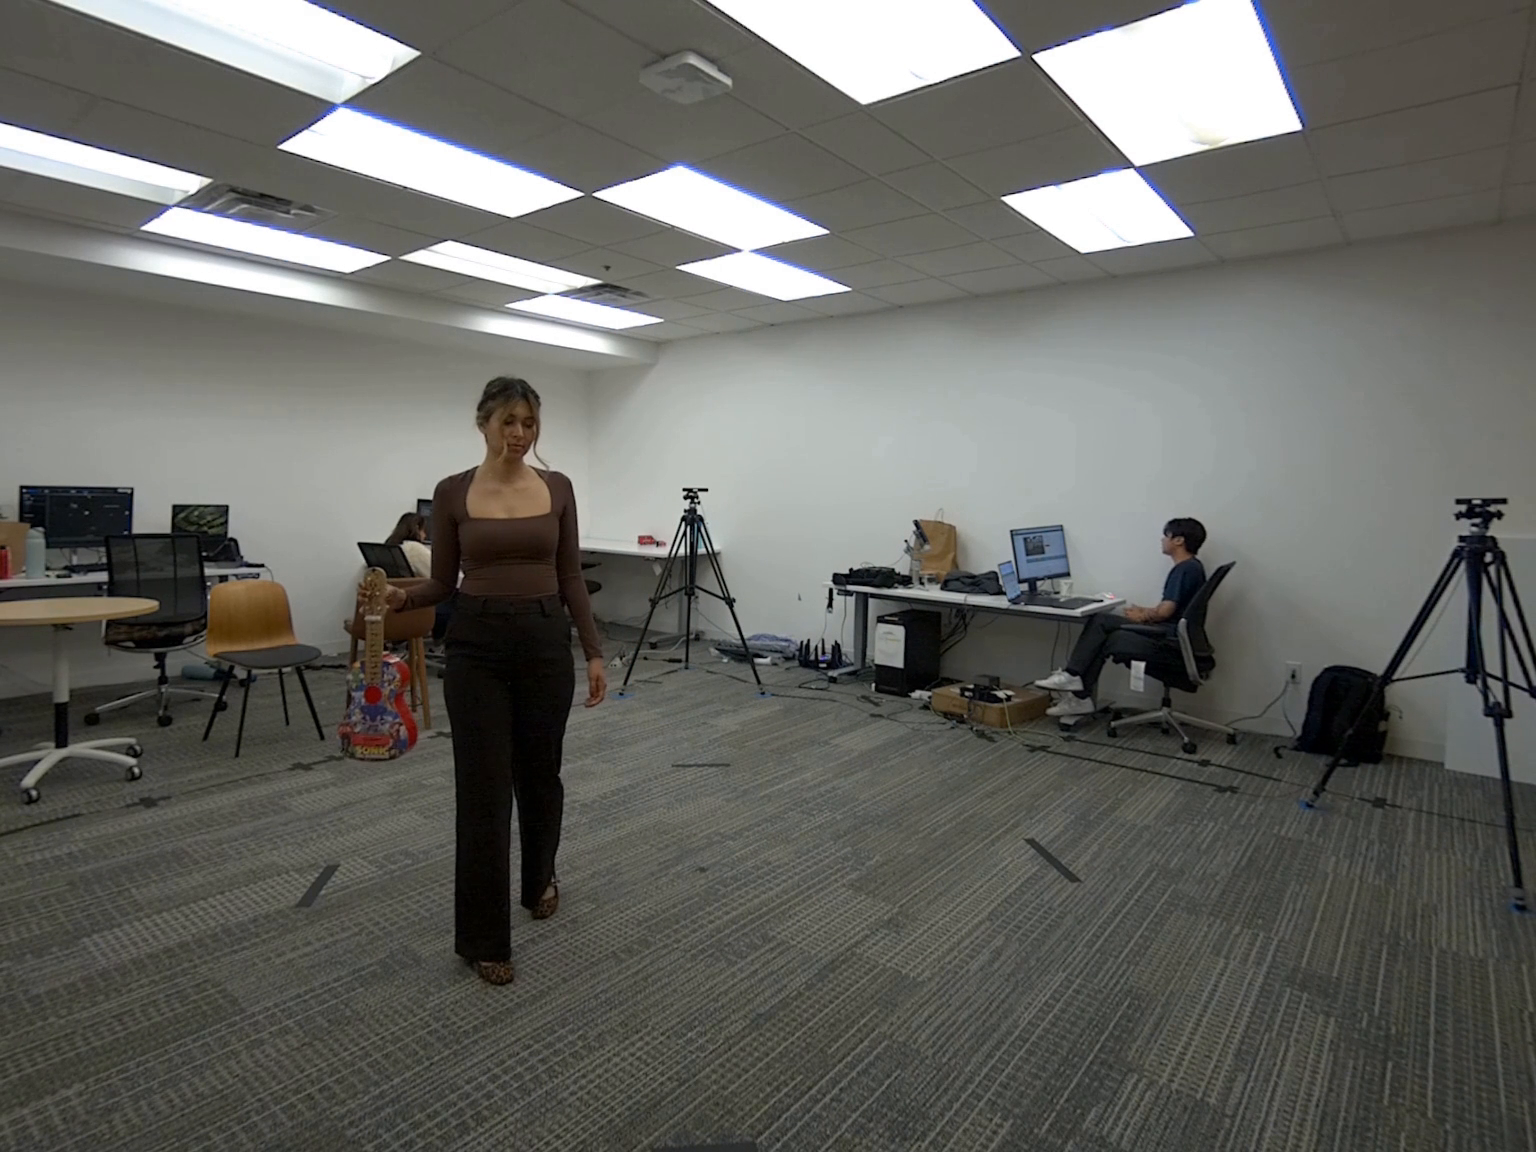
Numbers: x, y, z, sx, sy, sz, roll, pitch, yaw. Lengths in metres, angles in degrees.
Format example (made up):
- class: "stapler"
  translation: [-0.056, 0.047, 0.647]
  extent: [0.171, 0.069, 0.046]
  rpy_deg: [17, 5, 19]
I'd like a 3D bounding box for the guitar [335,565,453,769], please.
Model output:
- class: "guitar"
  translation: [-0.985, 0.236, 2.228]
  extent: [0.192, 0.497, 0.071]
  rpy_deg: [13, 1, -2]
